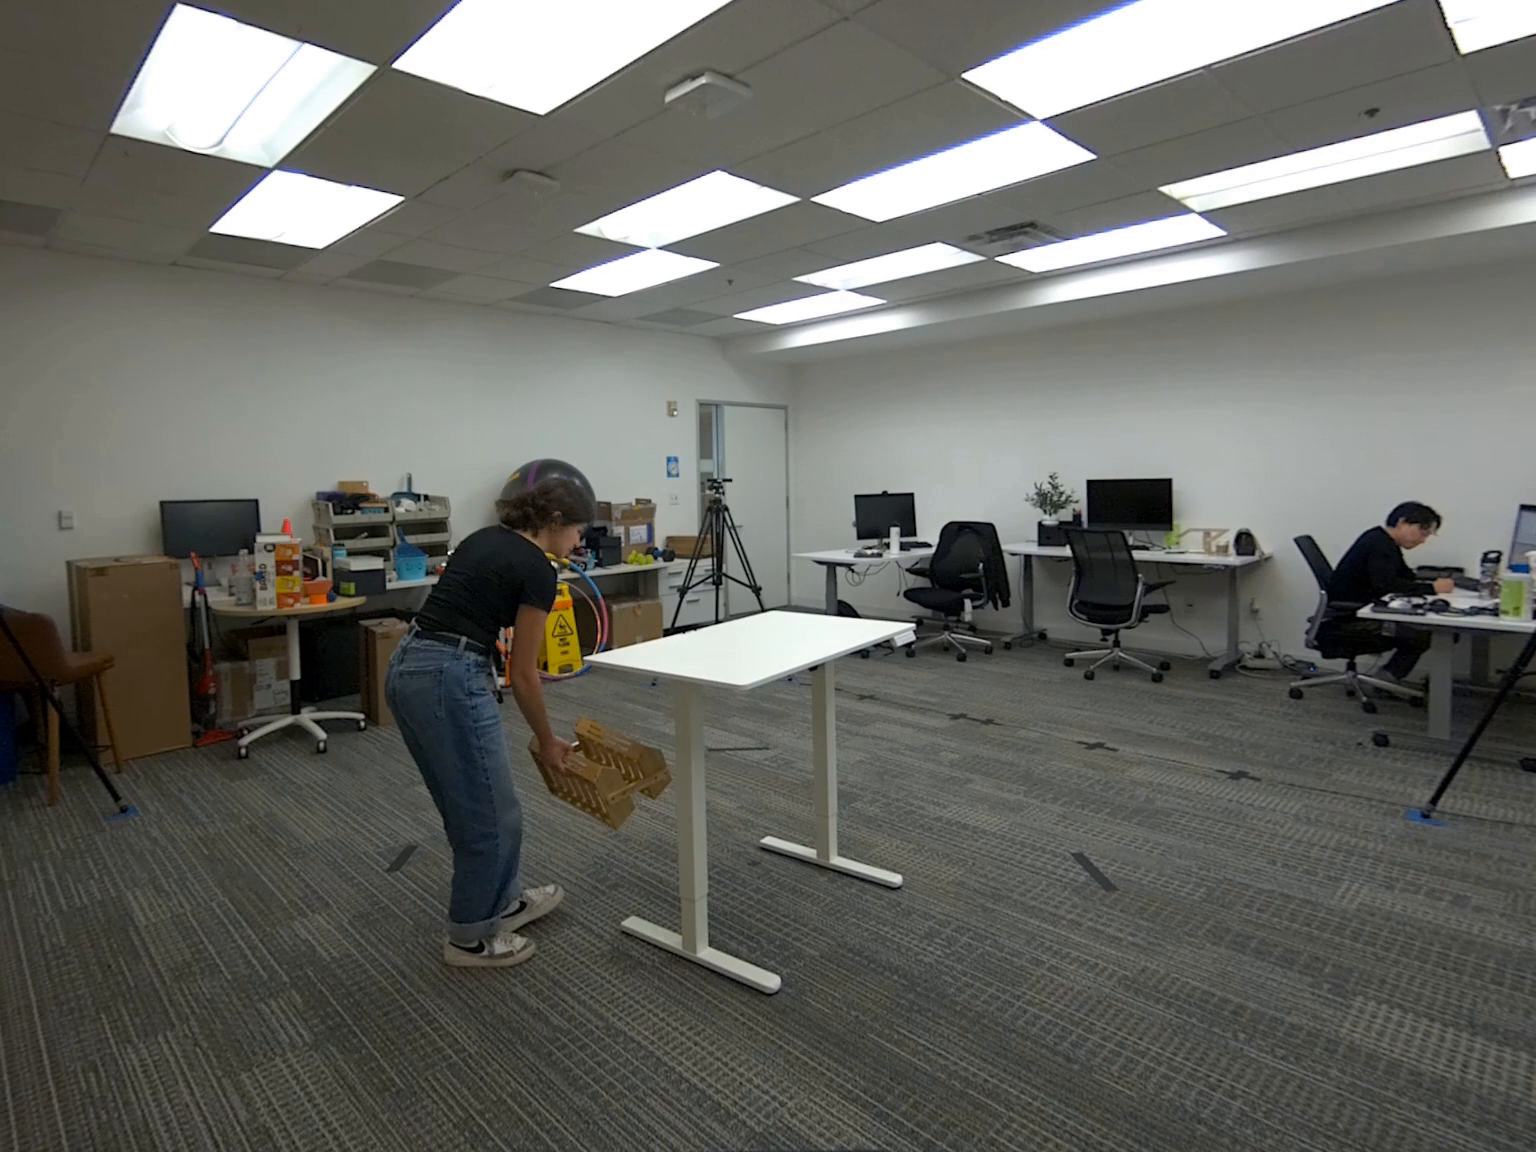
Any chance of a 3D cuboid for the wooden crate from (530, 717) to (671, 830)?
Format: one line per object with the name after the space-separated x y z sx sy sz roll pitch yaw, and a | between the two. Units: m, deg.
-0.529 0.592 2.724 0.335 0.293 0.273 15 44 34 | wooden crate
